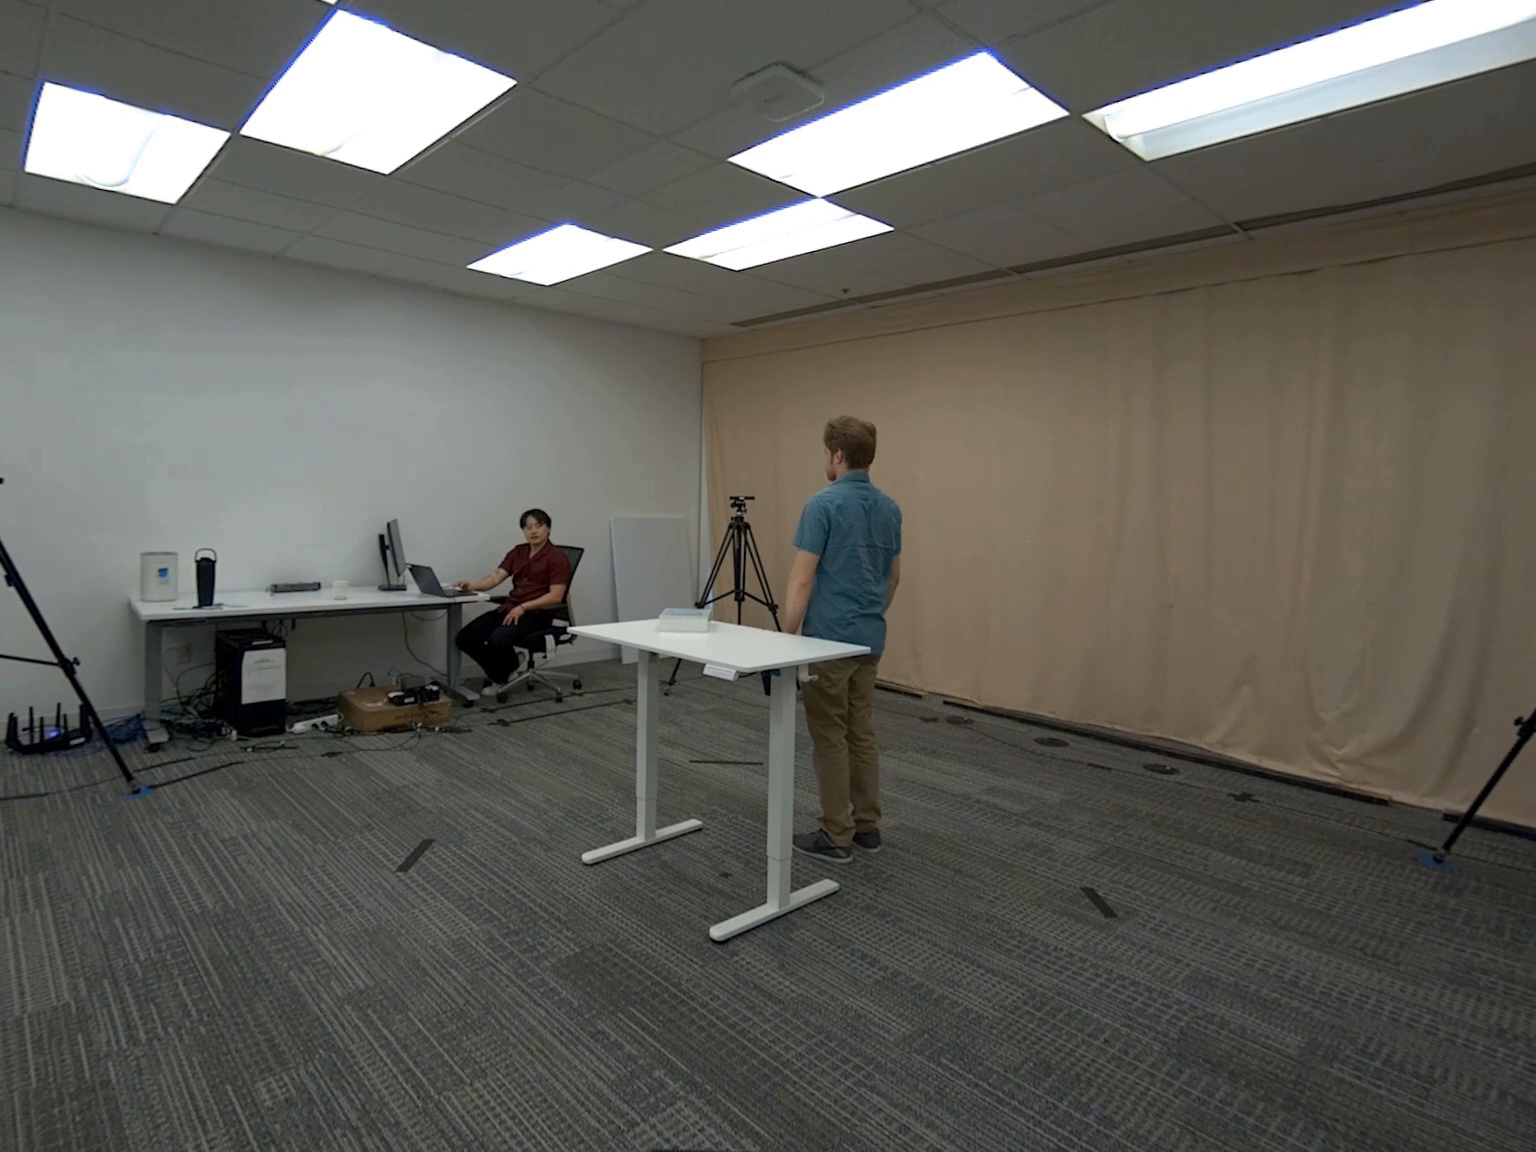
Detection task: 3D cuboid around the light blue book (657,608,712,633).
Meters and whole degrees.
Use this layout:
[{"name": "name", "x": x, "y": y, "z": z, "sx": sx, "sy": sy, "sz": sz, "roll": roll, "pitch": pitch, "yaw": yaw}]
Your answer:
[{"name": "light blue book", "x": -0.331, "y": 0.174, "z": 3.302, "sx": 0.191, "sy": 0.059, "sz": 0.261, "roll": 1, "pitch": 5, "yaw": 0}]
